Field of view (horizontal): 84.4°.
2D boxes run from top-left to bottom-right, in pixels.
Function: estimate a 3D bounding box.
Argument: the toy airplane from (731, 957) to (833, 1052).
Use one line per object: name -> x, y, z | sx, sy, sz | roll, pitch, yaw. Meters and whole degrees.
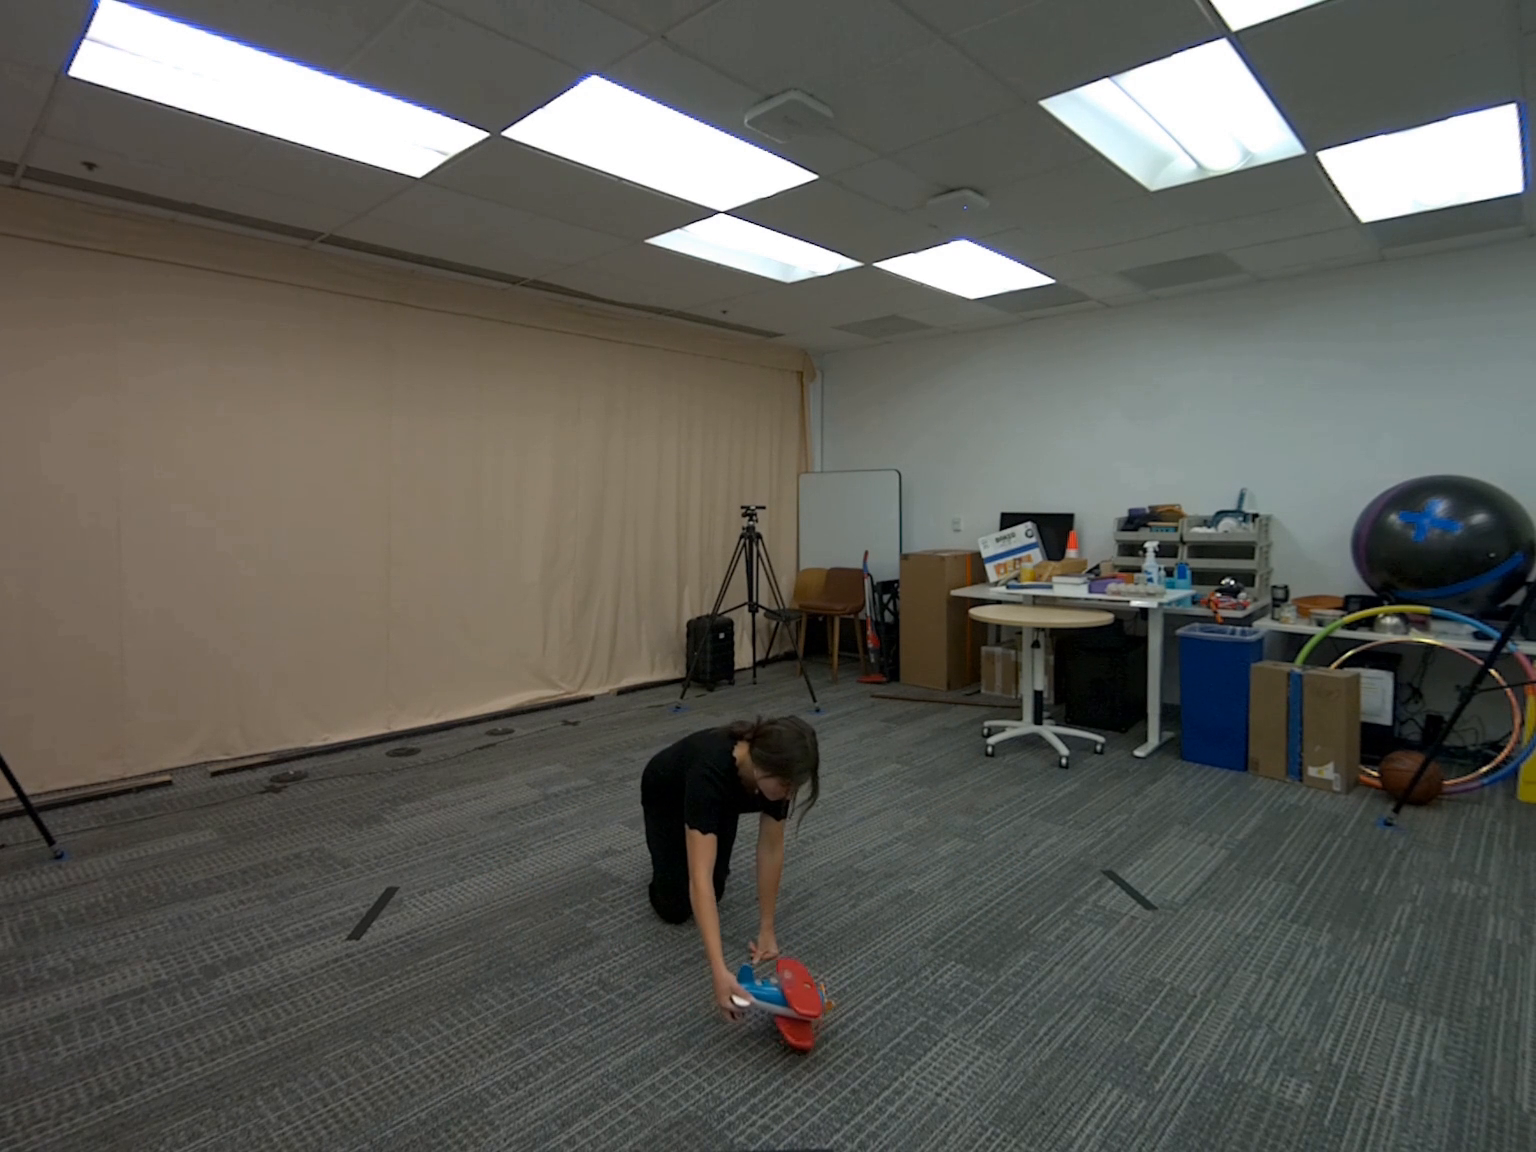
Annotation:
toy airplane -> 0.038, 1.107, 2.155 | 0.250, 0.156, 0.260 | 30, -1, -39
